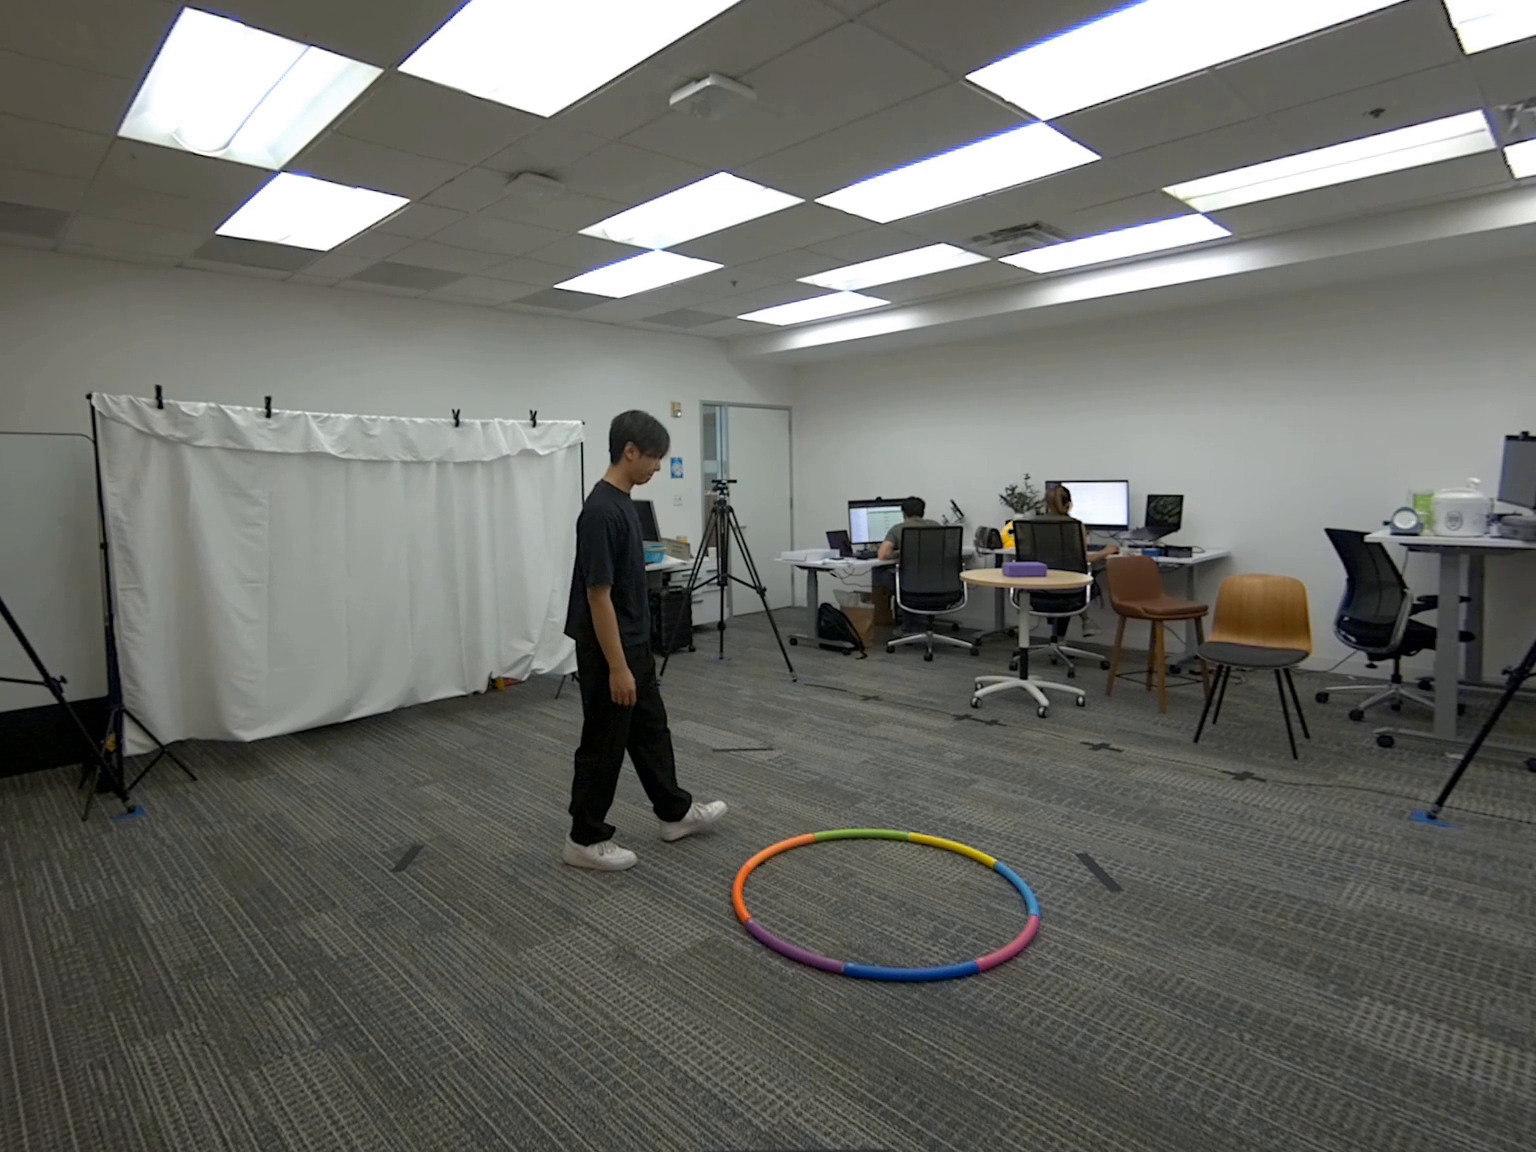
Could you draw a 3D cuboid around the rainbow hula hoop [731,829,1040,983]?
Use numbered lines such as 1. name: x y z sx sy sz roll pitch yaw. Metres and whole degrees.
1. rainbow hula hoop: 0.369 1.038 2.848 0.978 0.035 0.984 -2 7 -2
